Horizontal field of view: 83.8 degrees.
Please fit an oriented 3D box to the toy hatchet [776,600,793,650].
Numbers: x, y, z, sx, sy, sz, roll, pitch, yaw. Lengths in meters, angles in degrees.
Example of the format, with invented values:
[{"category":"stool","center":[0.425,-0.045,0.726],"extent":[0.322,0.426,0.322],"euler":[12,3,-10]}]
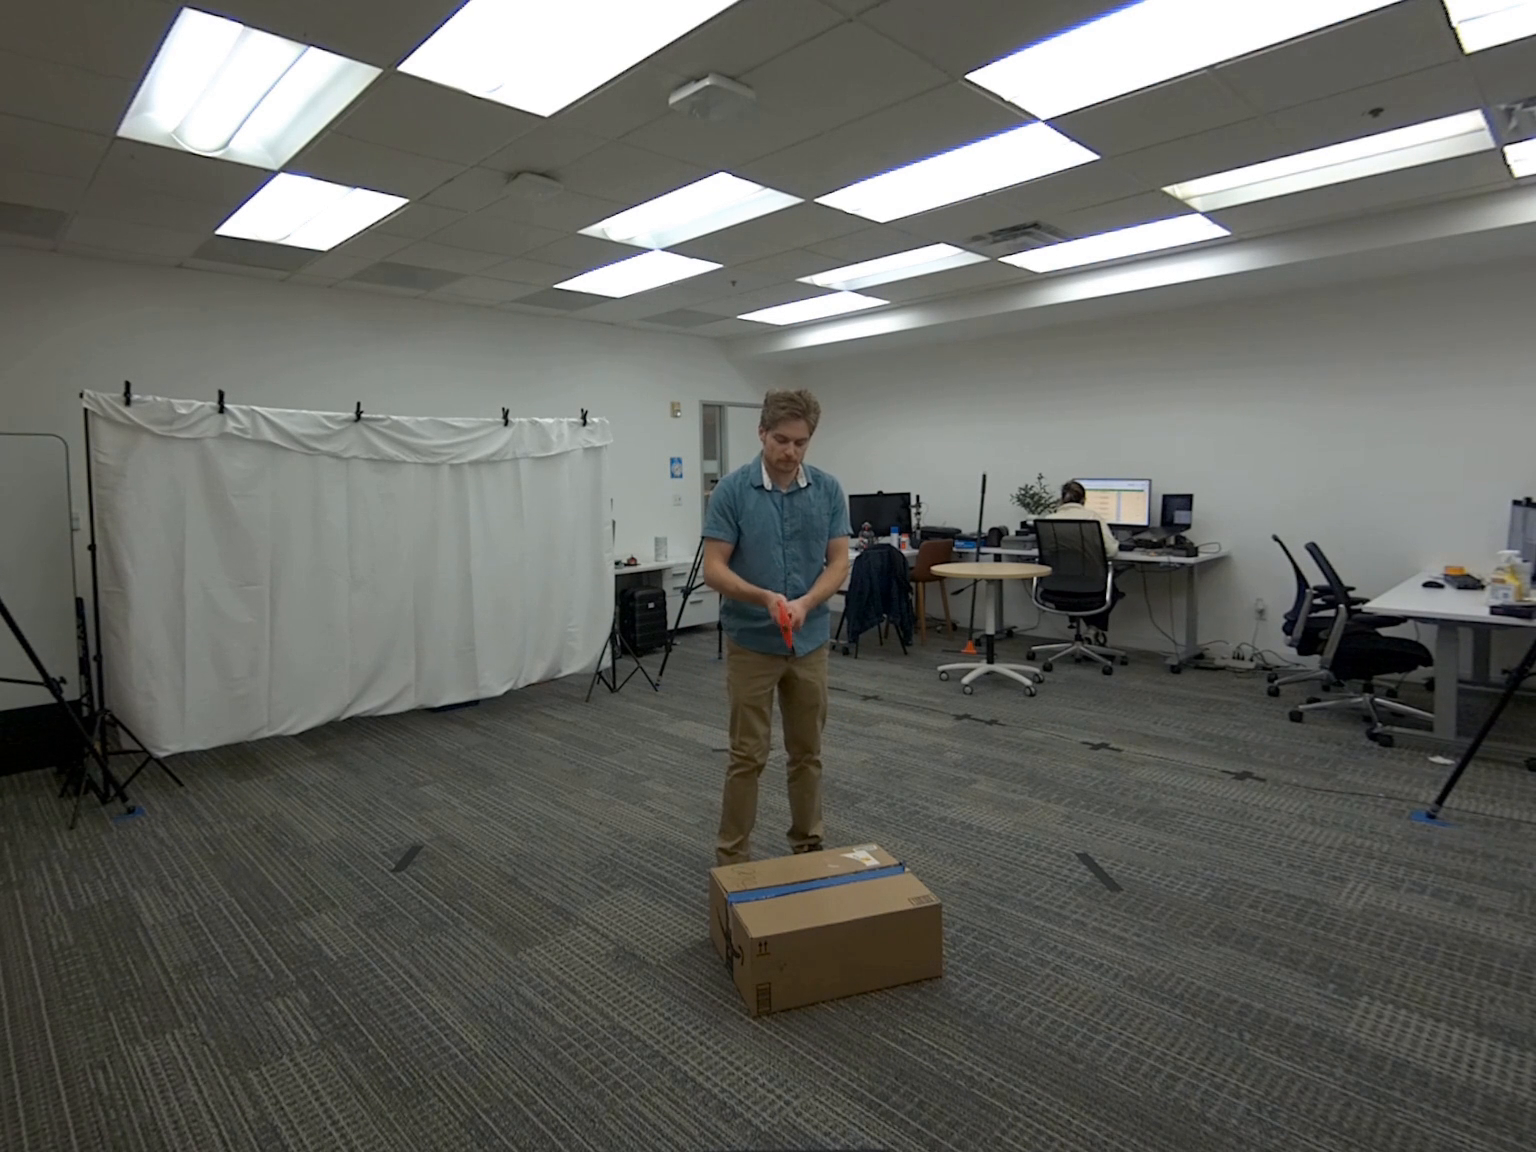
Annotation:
[{"category":"toy hatchet","center":[0.053,0.155,2.577],"extent":[0.030,0.133,0.265],"euler":[-15,-11,8]}]
